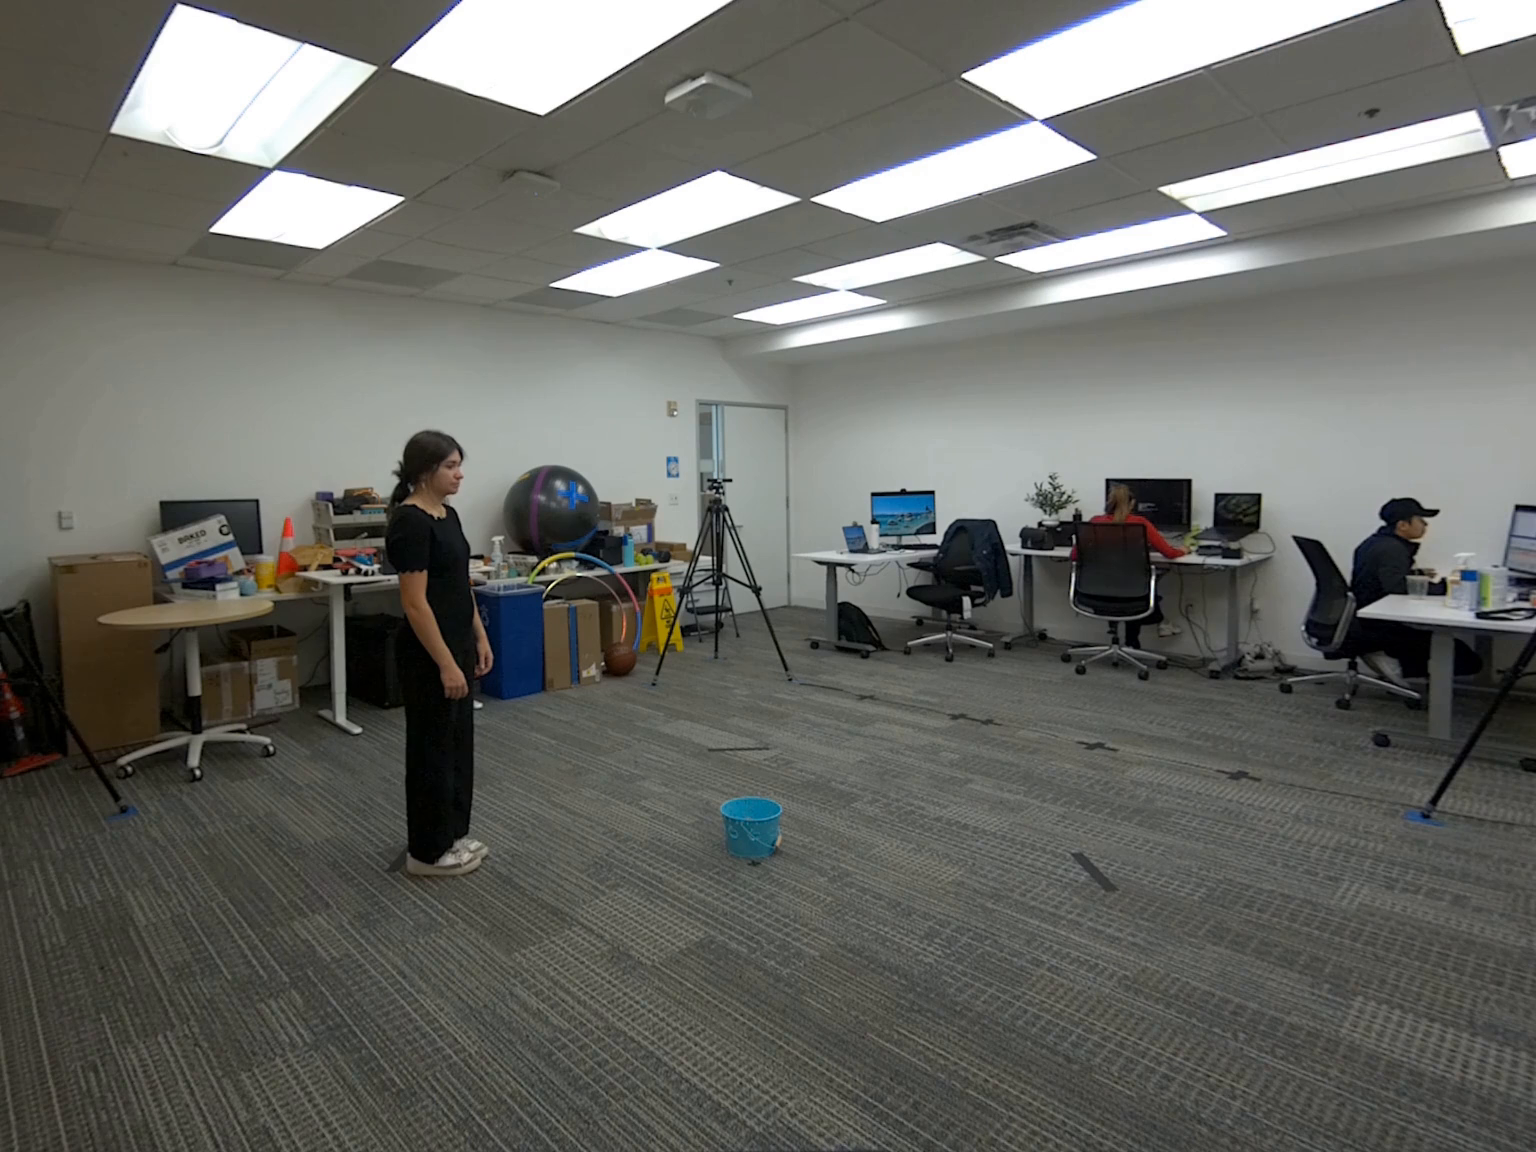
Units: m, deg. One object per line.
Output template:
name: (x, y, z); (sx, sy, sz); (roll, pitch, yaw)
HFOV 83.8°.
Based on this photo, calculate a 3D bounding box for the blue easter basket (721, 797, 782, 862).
blue easter basket: (-0.062, 0.947, 3.229); (0.243, 0.155, 0.244); (0, 4, -2)
